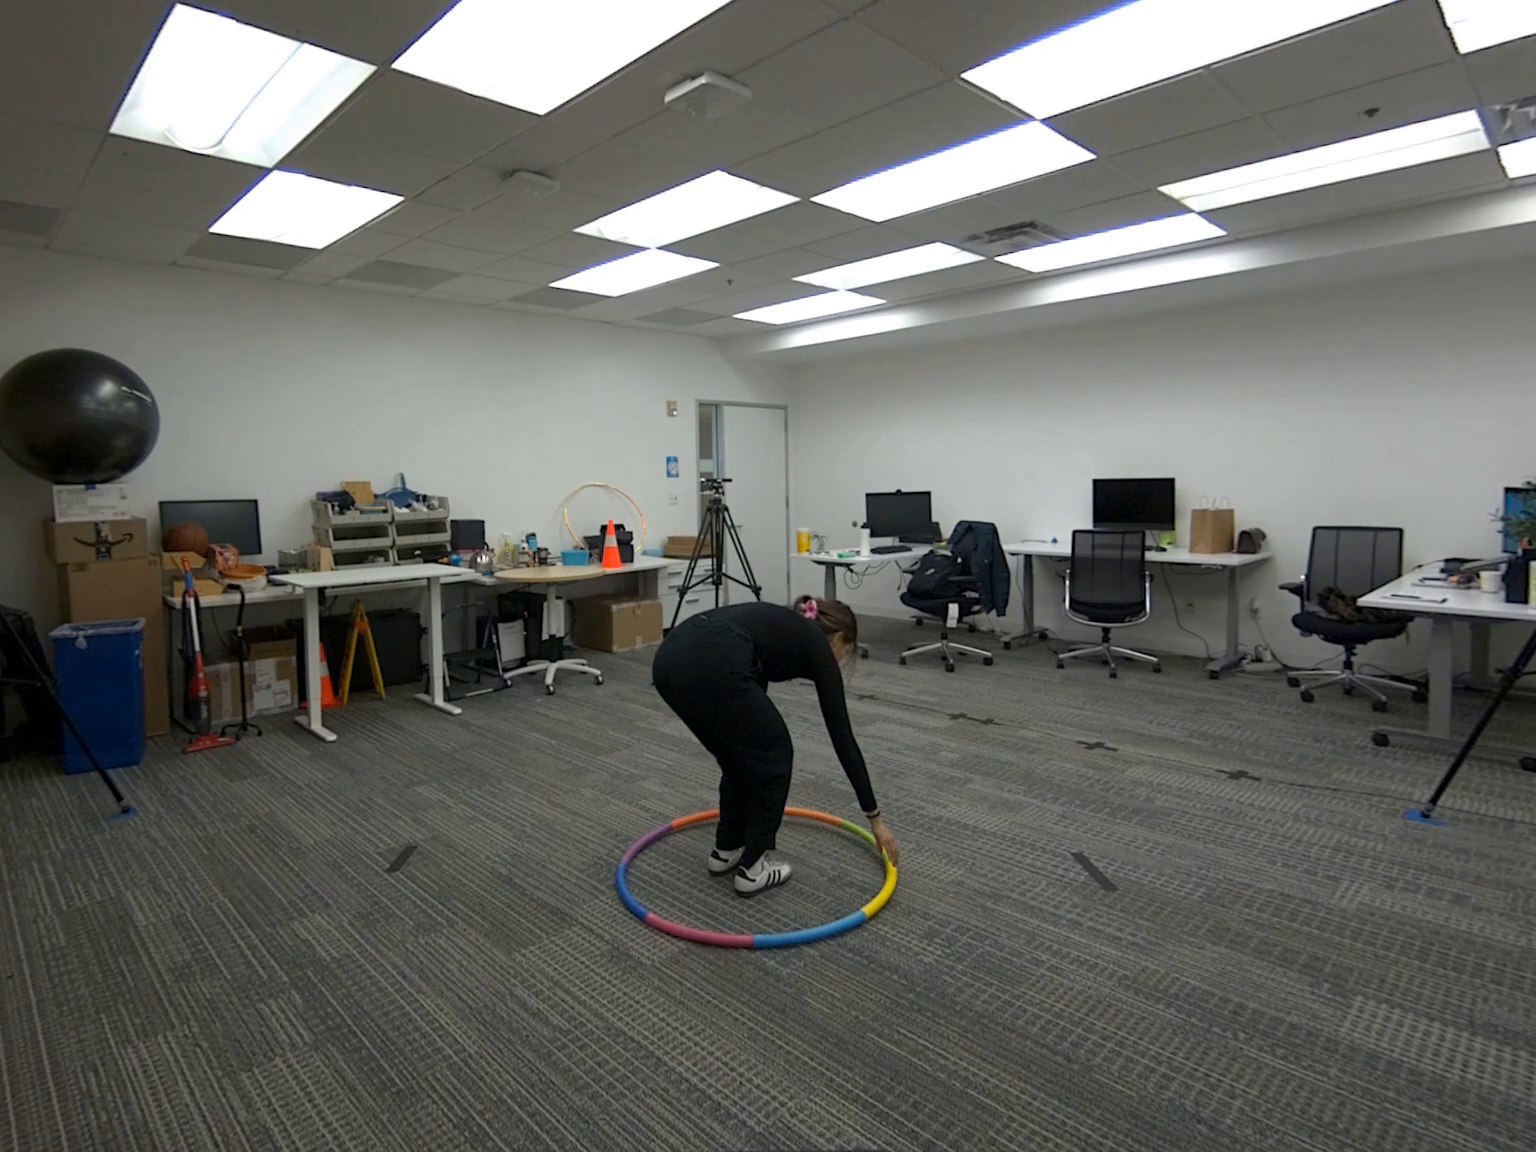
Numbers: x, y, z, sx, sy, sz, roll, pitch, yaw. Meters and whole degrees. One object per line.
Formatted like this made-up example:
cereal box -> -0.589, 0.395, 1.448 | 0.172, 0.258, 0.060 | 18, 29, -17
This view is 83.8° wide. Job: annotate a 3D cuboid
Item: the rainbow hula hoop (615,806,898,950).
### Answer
rainbow hula hoop -> -0.043, 0.994, 3.018 | 0.978, 0.035, 0.986 | -3, 9, -1
